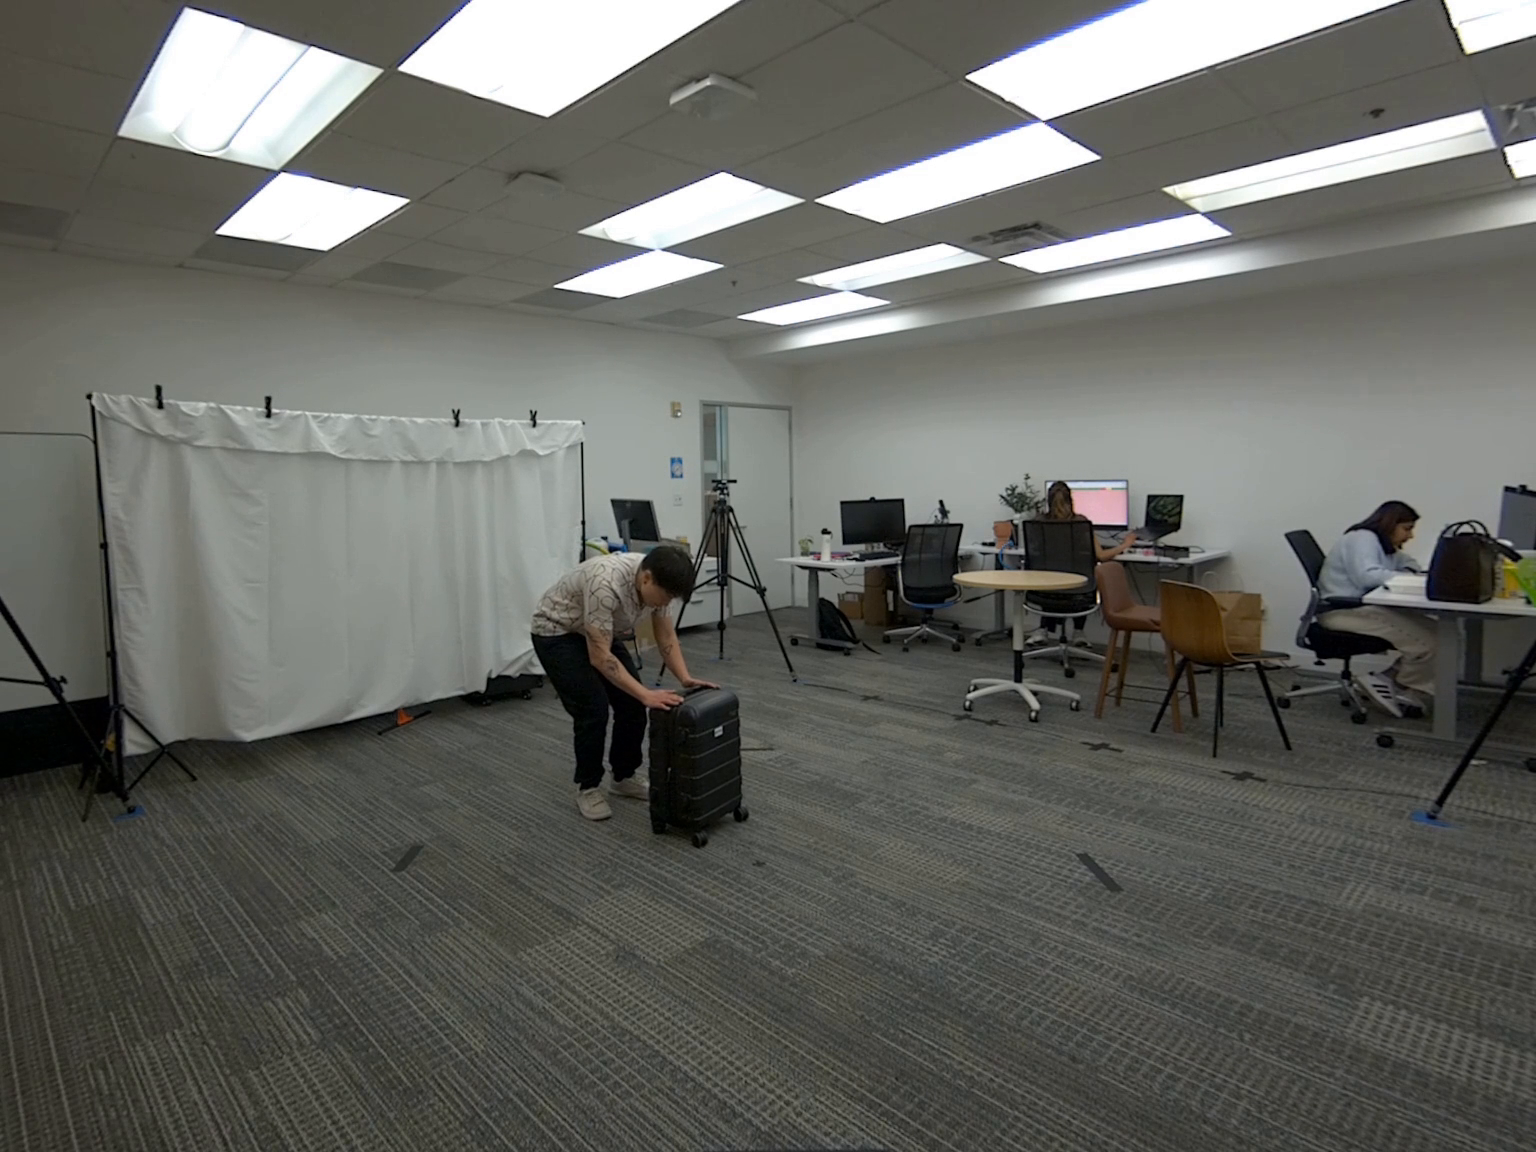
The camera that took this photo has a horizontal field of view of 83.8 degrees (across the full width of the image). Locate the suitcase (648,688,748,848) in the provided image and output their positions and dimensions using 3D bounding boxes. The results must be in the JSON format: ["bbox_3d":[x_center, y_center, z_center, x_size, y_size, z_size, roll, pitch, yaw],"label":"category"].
[{"bbox_3d":[-0.289,0.738,3.445,0.255,0.548,0.366,0,4,33],"label":"suitcase"}]
